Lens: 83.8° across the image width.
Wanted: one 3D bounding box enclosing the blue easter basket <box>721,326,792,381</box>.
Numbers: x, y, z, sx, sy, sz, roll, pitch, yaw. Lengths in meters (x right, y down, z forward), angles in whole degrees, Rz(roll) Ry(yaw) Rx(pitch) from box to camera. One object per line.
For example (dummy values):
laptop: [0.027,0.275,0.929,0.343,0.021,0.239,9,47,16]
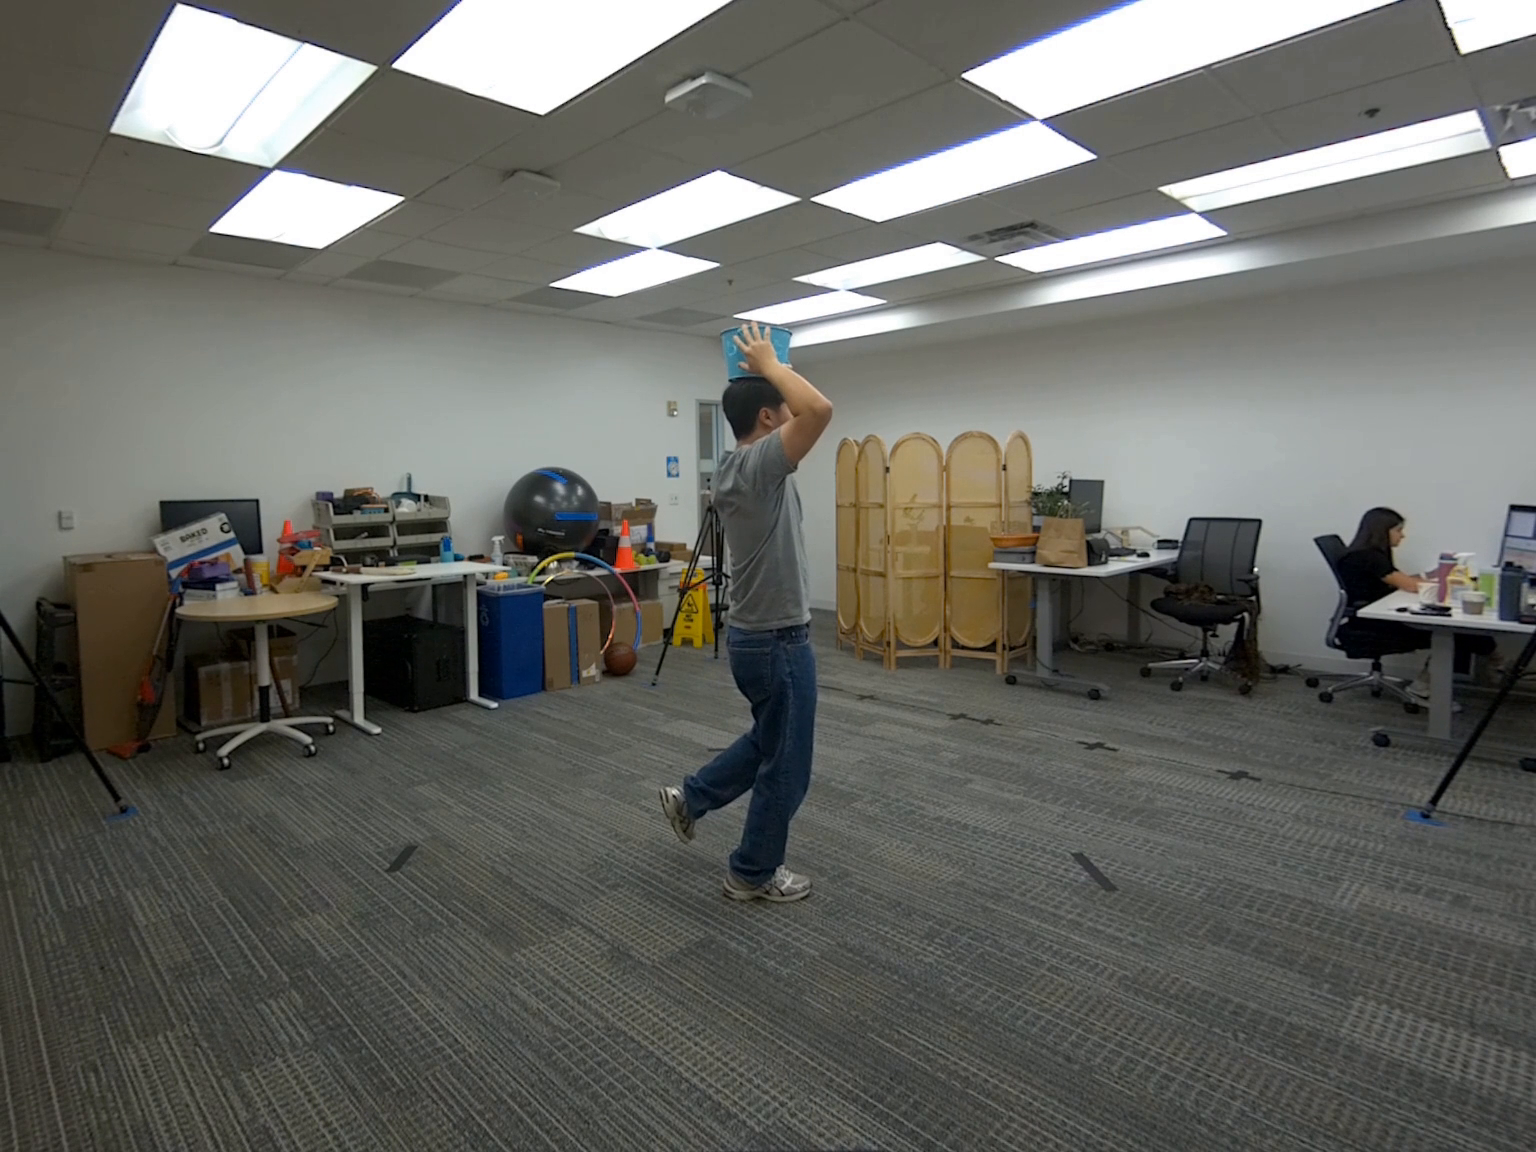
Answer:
blue easter basket: [-0.036,-0.706,2.747,0.243,0.155,0.244,-2,3,-2]
